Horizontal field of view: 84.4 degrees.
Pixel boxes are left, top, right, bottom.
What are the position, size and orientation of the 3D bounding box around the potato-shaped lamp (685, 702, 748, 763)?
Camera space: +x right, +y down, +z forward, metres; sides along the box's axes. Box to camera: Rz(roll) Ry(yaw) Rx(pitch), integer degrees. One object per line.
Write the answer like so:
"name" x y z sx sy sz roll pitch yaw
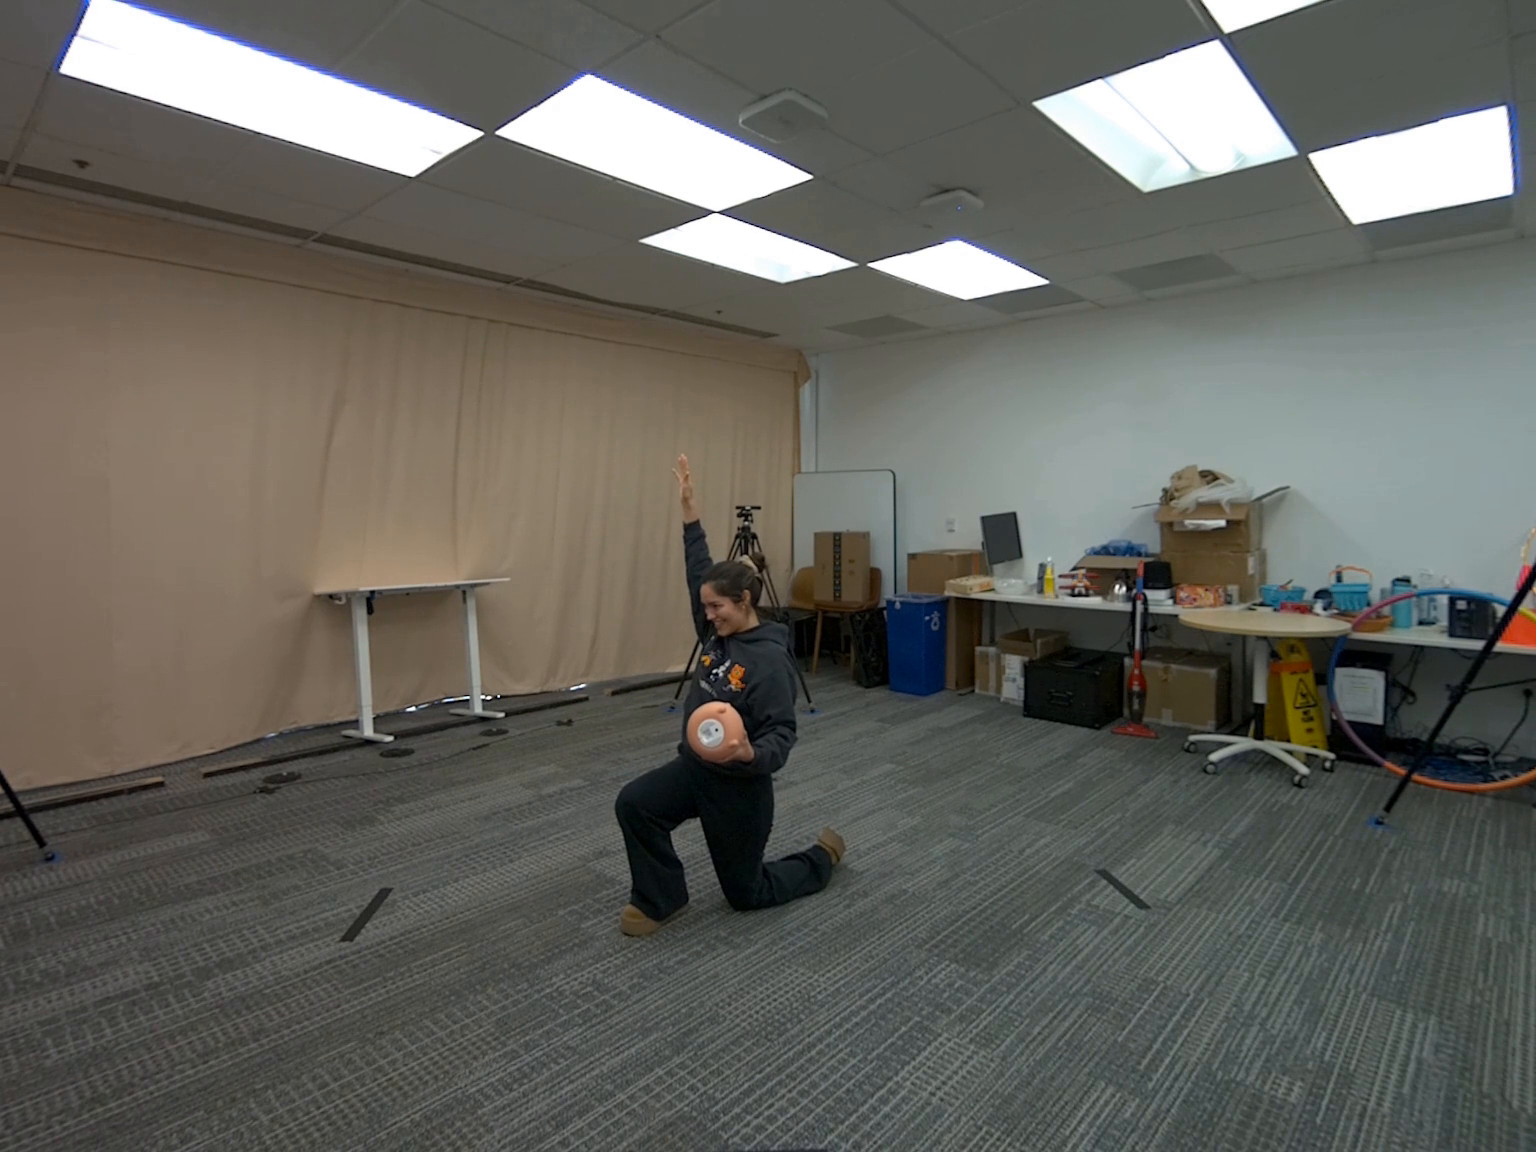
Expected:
"potato-shaped lamp" -0.131 0.455 2.496 0.173 0.166 0.194 -27 -10 14
